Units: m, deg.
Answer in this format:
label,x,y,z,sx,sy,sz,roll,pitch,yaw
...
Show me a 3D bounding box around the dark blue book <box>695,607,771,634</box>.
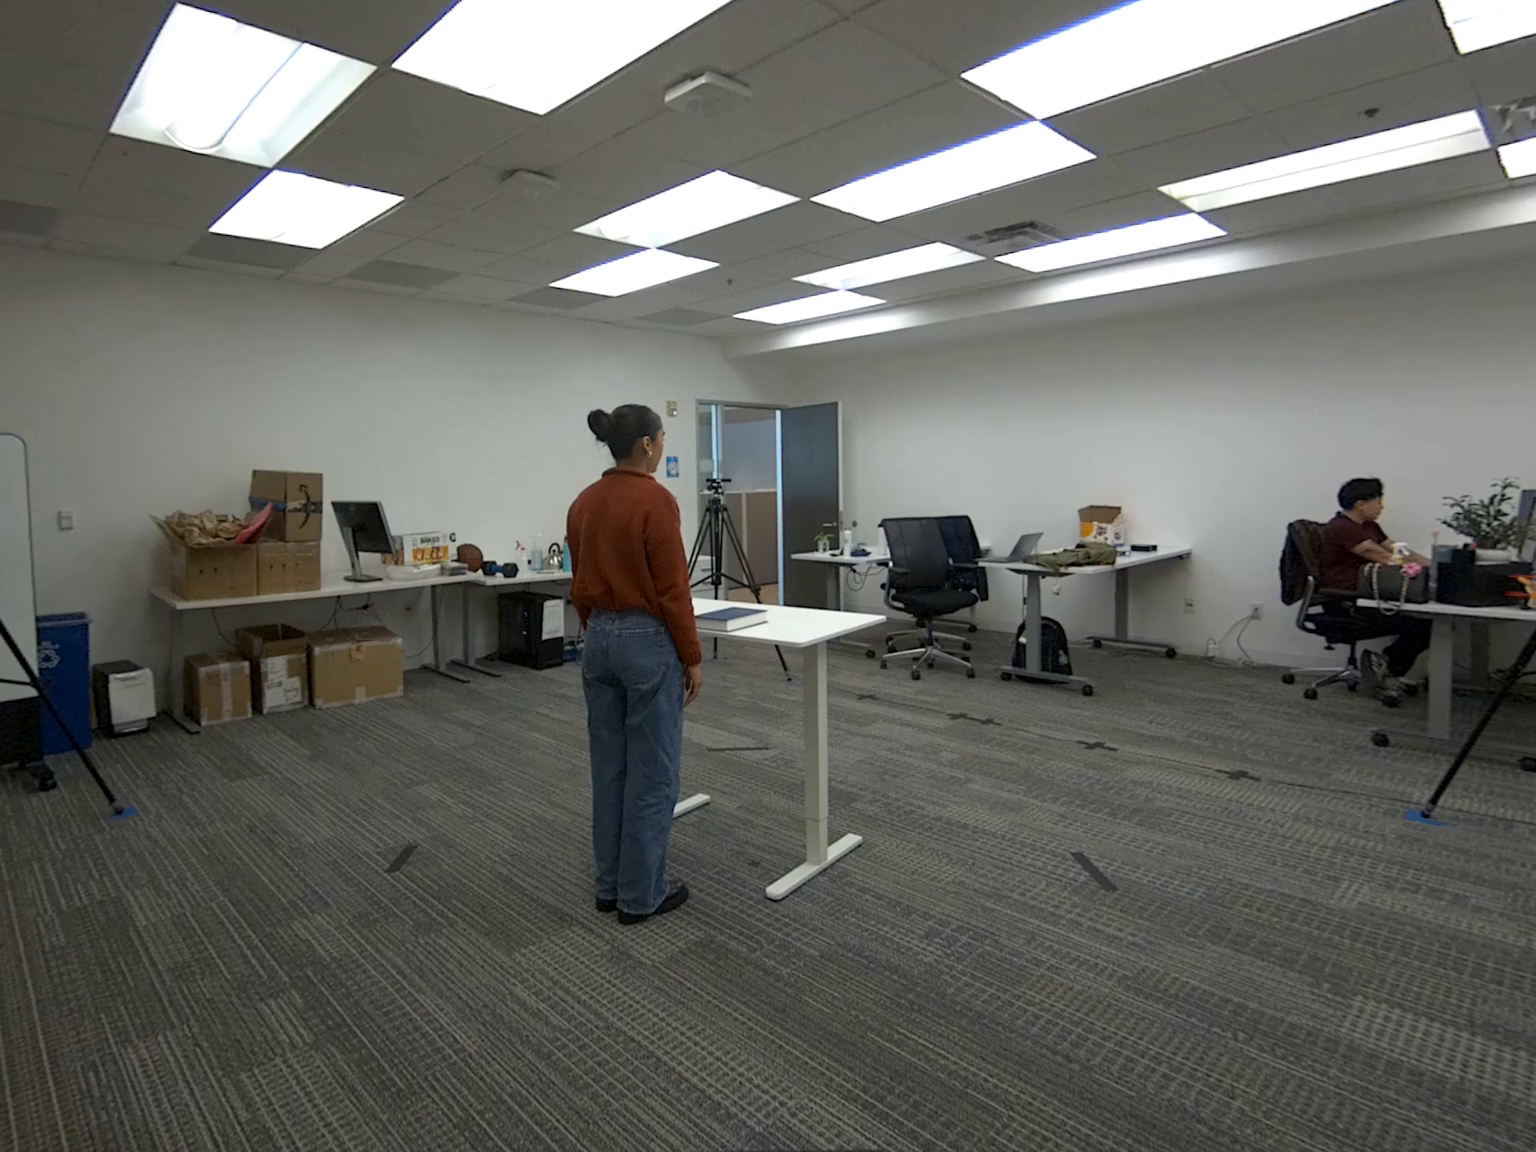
label,x,y,z,sx,sy,sz,roll,pitch,yaw
dark blue book,-0.126,0.154,3.022,0.168,0.045,0.239,3,7,33
